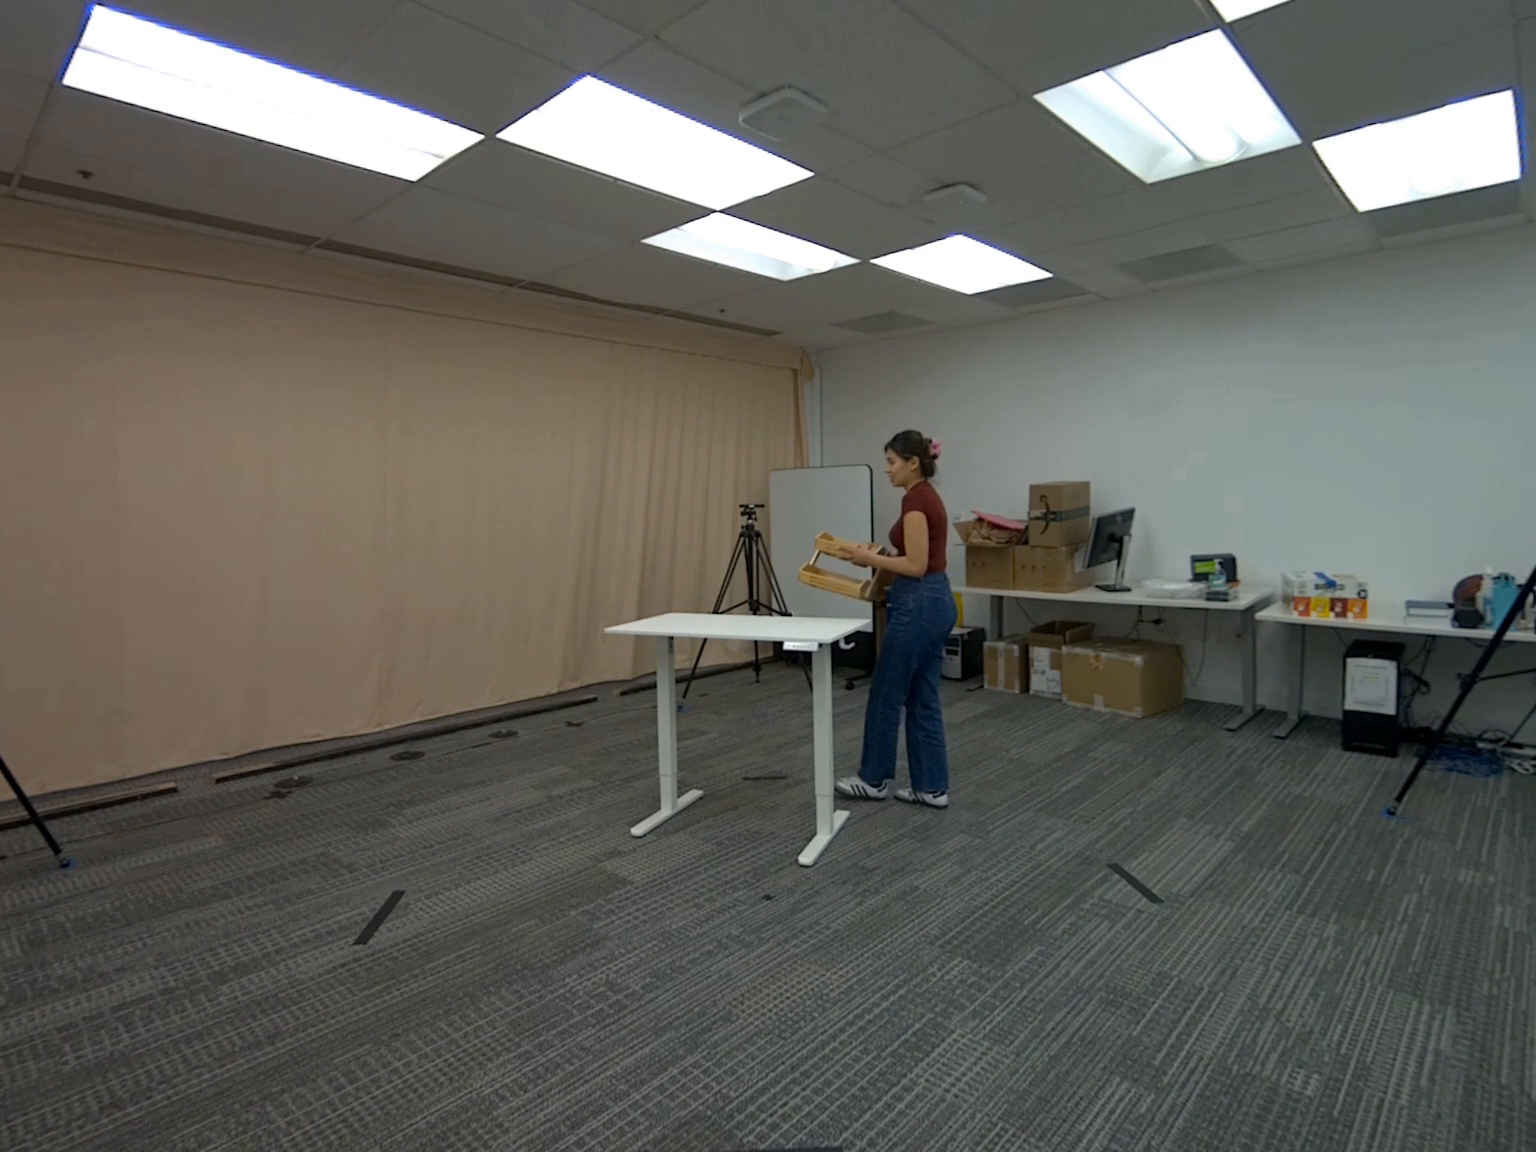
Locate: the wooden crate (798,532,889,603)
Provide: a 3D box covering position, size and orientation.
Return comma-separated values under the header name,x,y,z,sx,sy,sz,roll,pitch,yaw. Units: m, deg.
name,x,y,z,sx,sy,sz,roll,pitch,yaw
wooden crate,0.356,-0.051,3.918,0.334,0.273,0.293,16,-2,25
